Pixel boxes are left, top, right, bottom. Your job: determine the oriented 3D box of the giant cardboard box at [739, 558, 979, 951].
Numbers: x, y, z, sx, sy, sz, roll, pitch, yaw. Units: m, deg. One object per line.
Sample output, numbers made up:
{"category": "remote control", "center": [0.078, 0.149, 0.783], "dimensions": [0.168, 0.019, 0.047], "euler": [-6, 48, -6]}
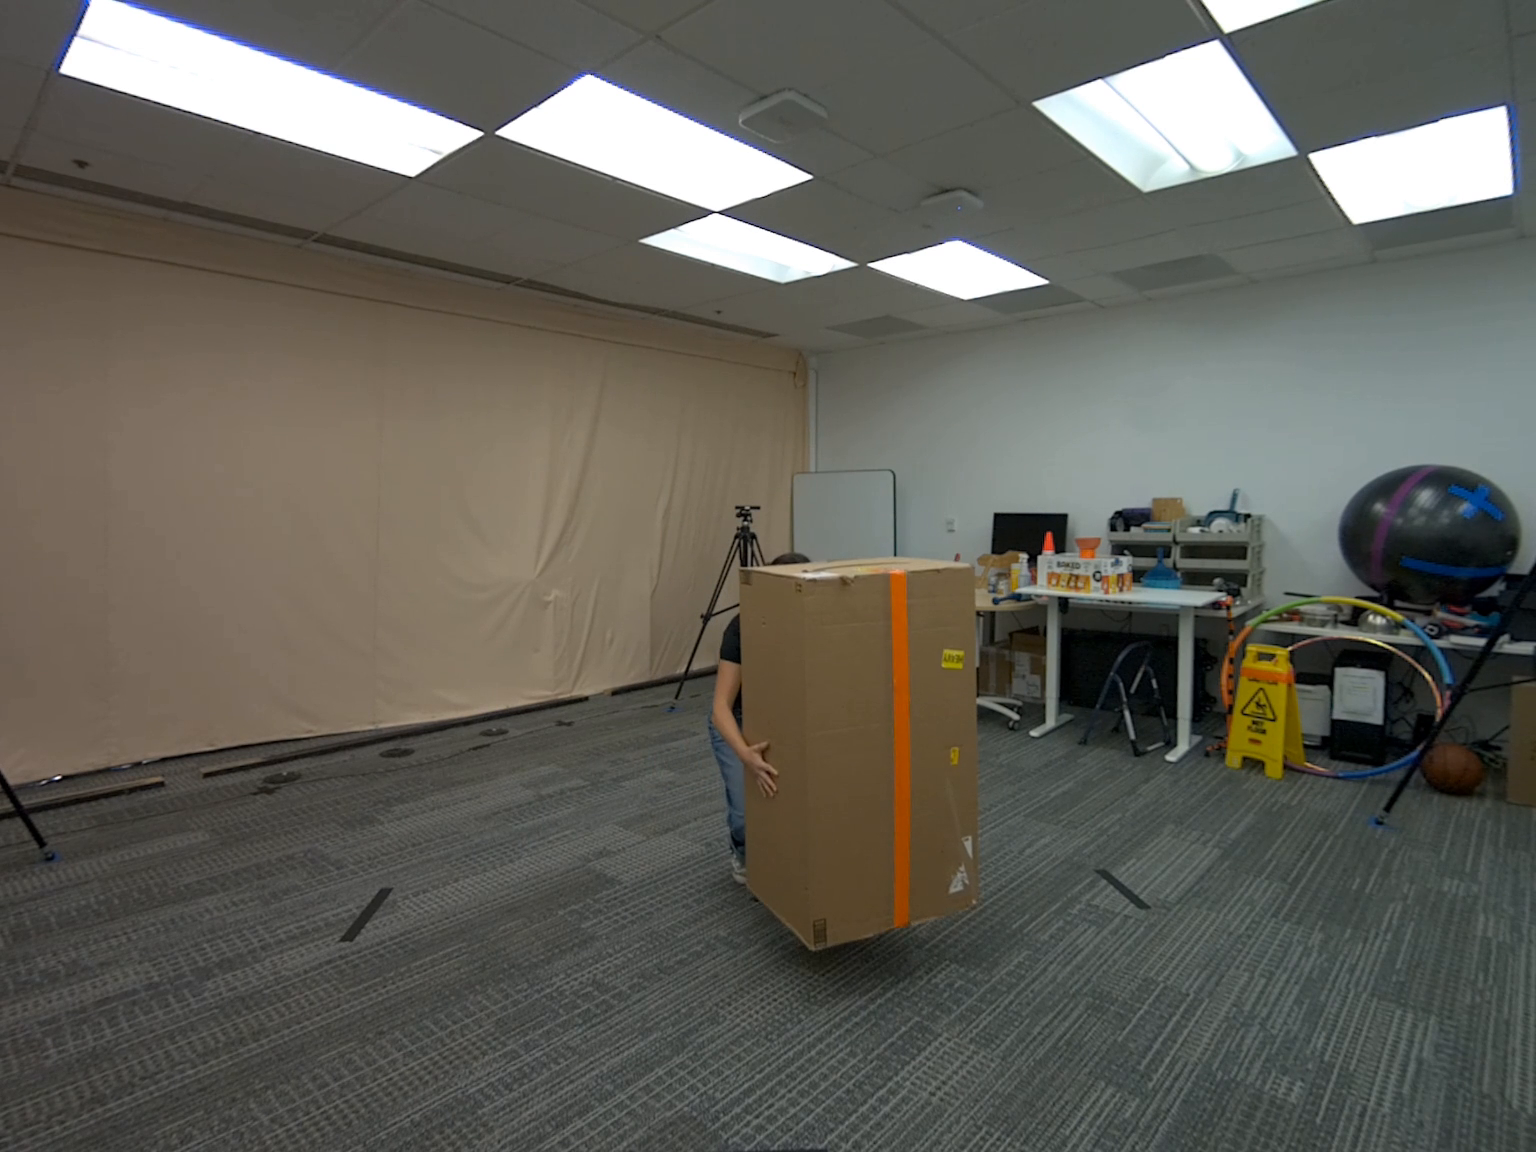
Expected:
{"category": "giant cardboard box", "center": [0.277, 0.478, 2.549], "dimensions": [0.564, 1.023, 0.437], "euler": [-3, 4, -25]}
